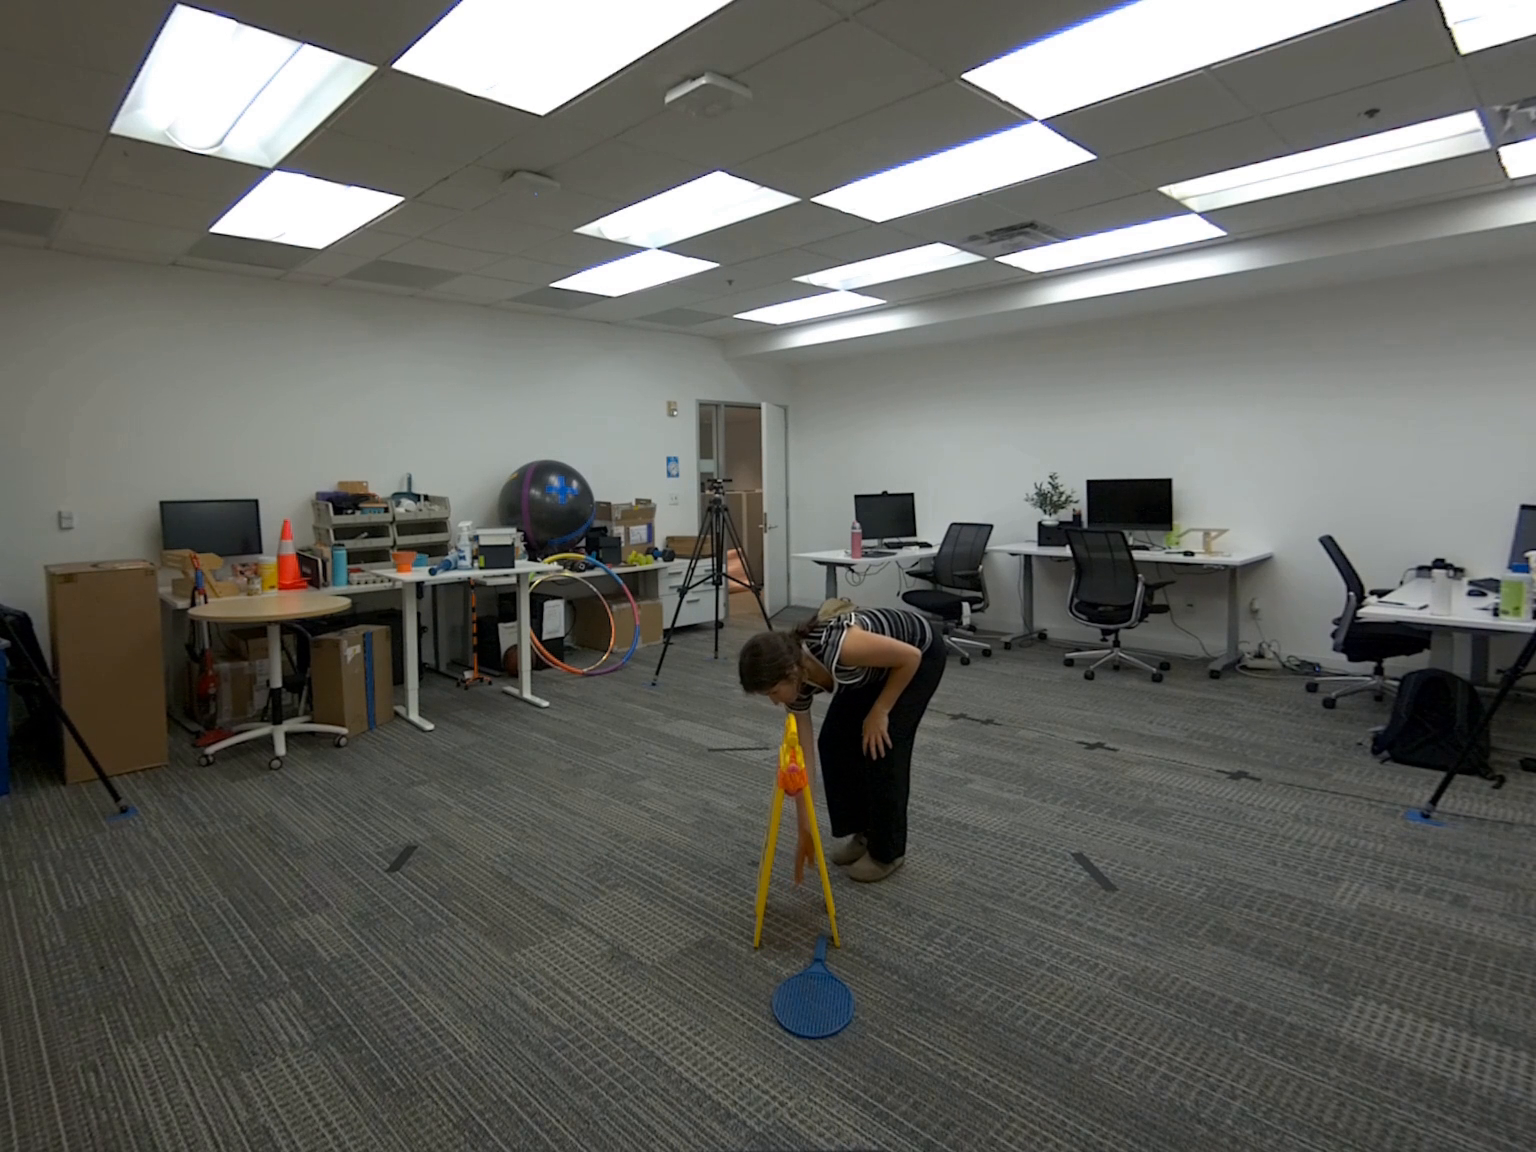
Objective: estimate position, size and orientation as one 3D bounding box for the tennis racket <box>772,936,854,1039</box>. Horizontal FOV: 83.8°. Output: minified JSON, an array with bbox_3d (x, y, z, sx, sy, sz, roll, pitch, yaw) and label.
[{"bbox_3d":[0.139,1.124,2.342,0.216,0.031,0.432,1,9,8],"label":"tennis racket"}]
